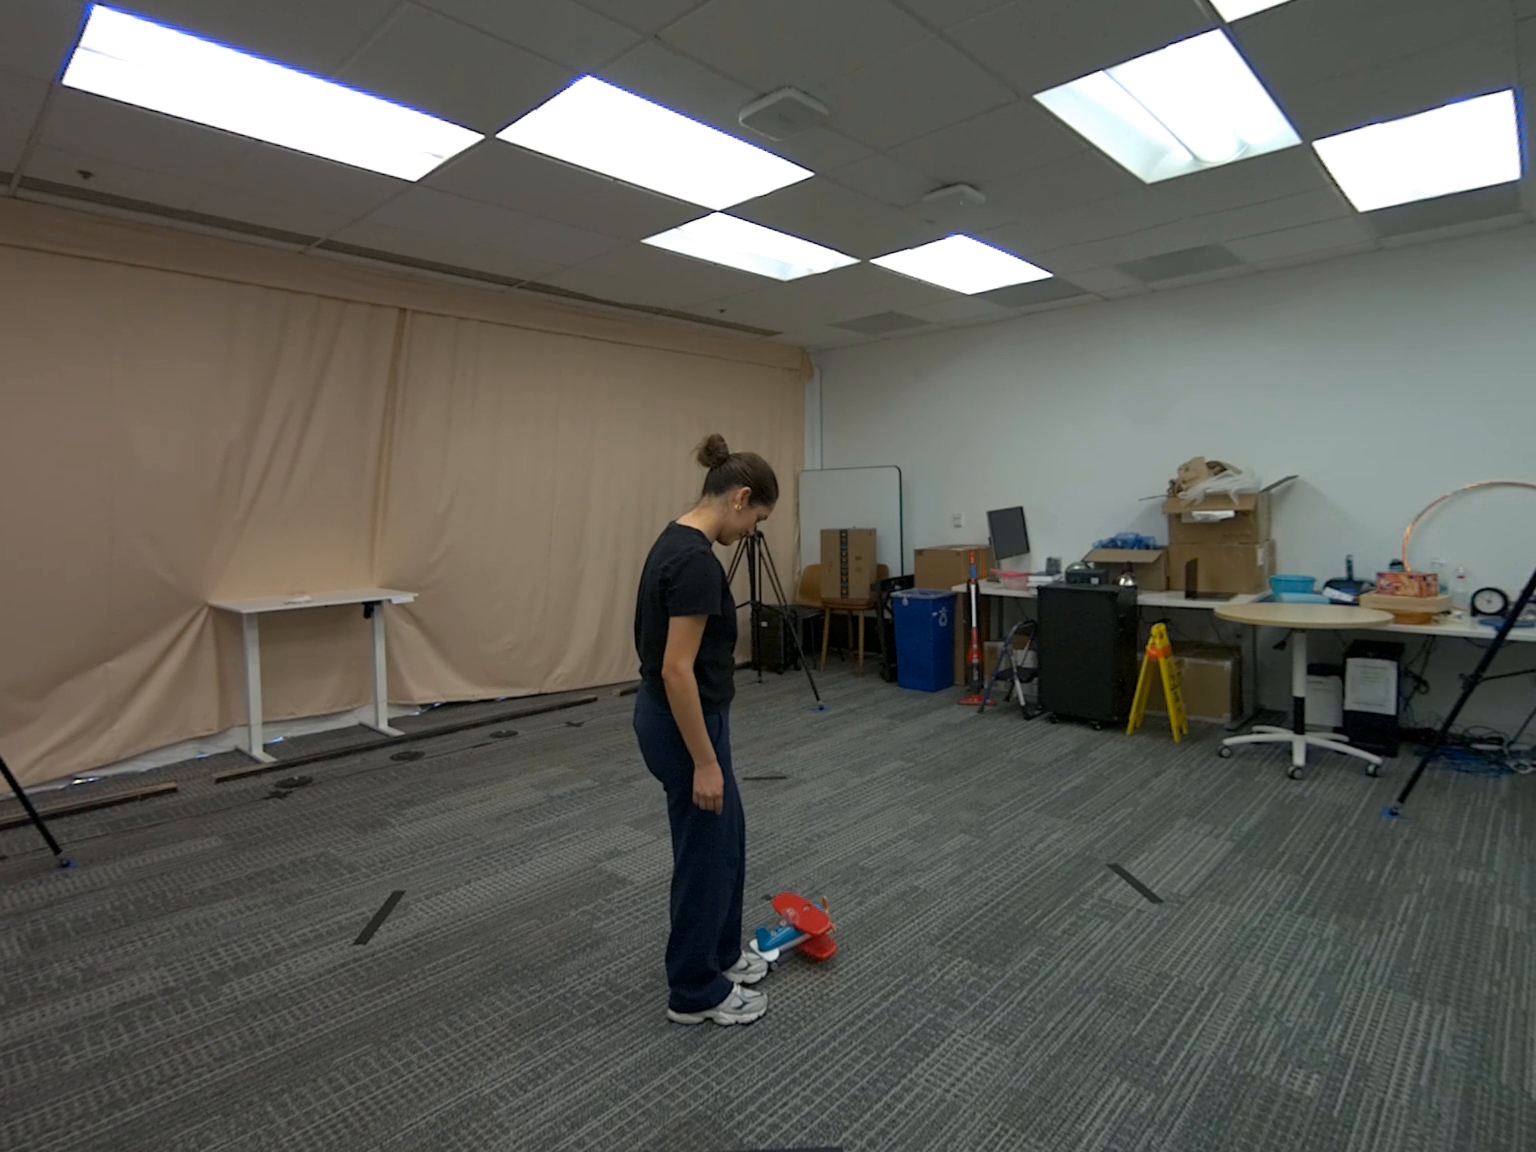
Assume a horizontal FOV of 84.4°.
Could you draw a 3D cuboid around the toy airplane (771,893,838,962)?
[{"bbox_3d":[0.111,1.099,2.561,0.259,0.156,0.252,2,3,32],"label":"toy airplane"}]
